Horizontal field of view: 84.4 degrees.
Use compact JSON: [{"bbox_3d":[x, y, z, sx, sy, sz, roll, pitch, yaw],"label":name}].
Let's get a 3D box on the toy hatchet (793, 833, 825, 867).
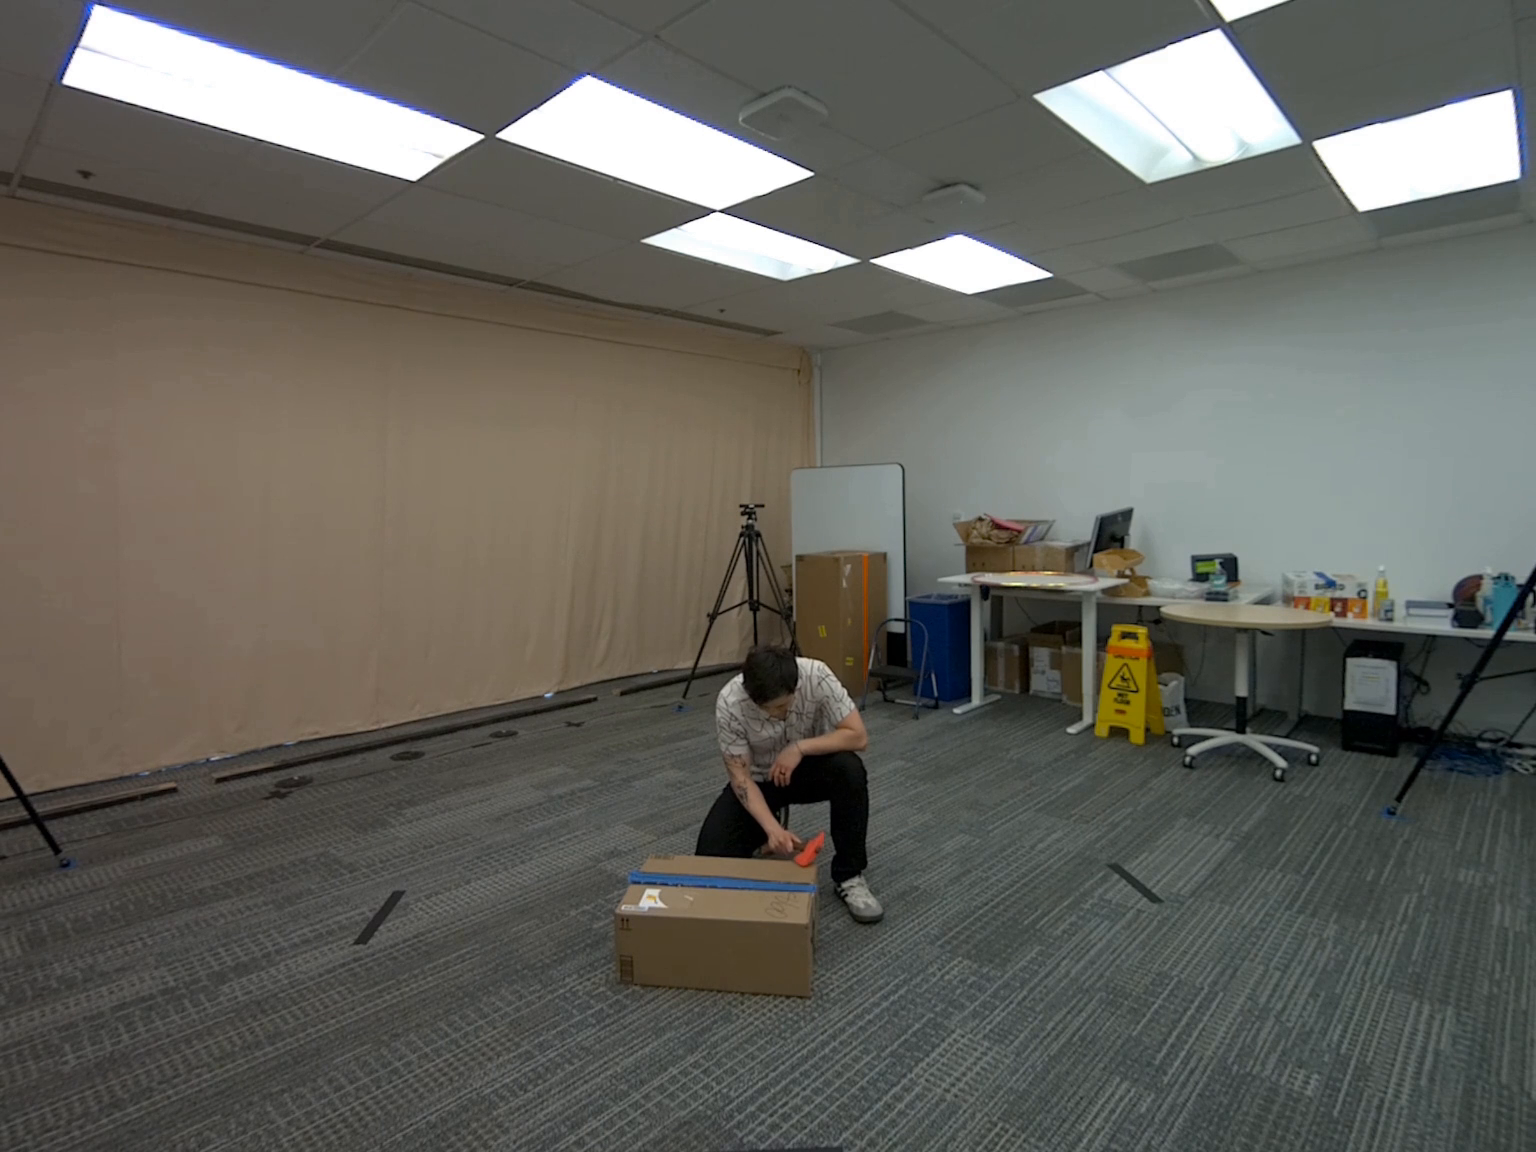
[{"bbox_3d":[0.070,0.927,2.816,0.275,0.029,0.131,-28,22,37],"label":"toy hatchet"}]
